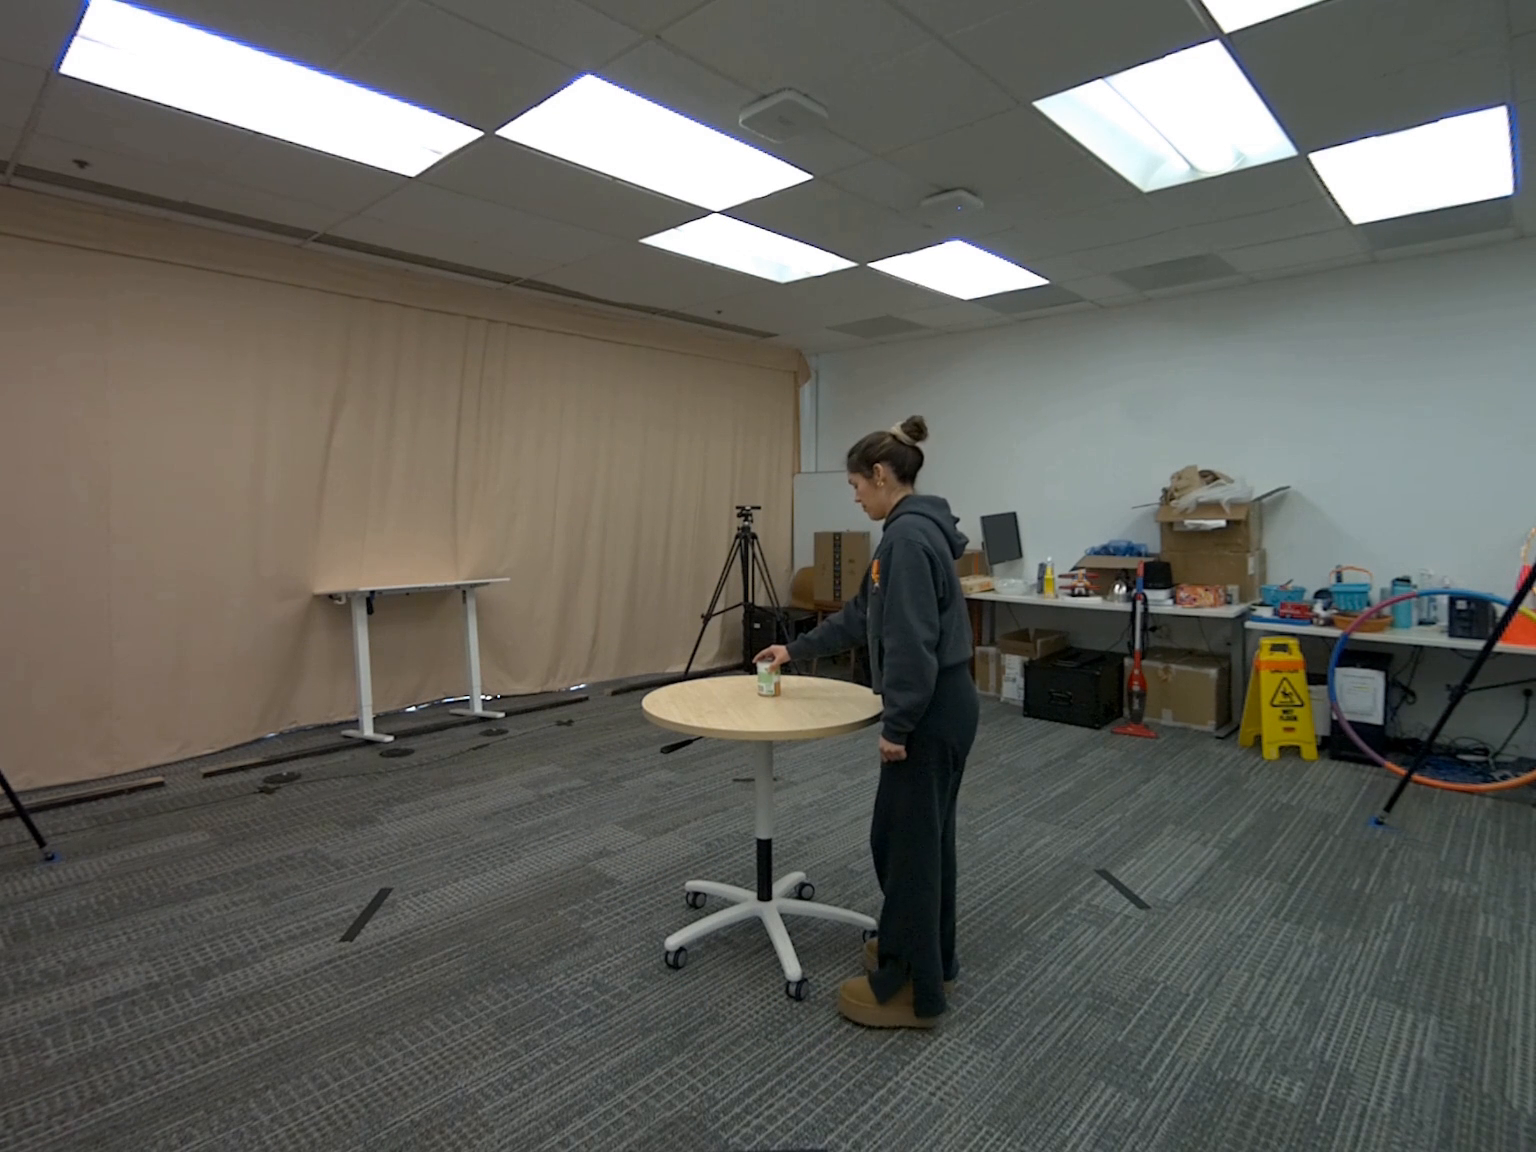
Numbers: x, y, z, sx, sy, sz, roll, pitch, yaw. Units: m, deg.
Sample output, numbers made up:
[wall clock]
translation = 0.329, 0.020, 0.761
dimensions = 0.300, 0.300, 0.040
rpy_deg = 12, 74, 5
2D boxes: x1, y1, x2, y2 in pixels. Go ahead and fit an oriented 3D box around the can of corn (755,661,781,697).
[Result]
[can of corn]
translation = 0.019, 0.325, 2.710
dimensions = 0.074, 0.111, 0.074
rpy_deg = 2, 4, -2
